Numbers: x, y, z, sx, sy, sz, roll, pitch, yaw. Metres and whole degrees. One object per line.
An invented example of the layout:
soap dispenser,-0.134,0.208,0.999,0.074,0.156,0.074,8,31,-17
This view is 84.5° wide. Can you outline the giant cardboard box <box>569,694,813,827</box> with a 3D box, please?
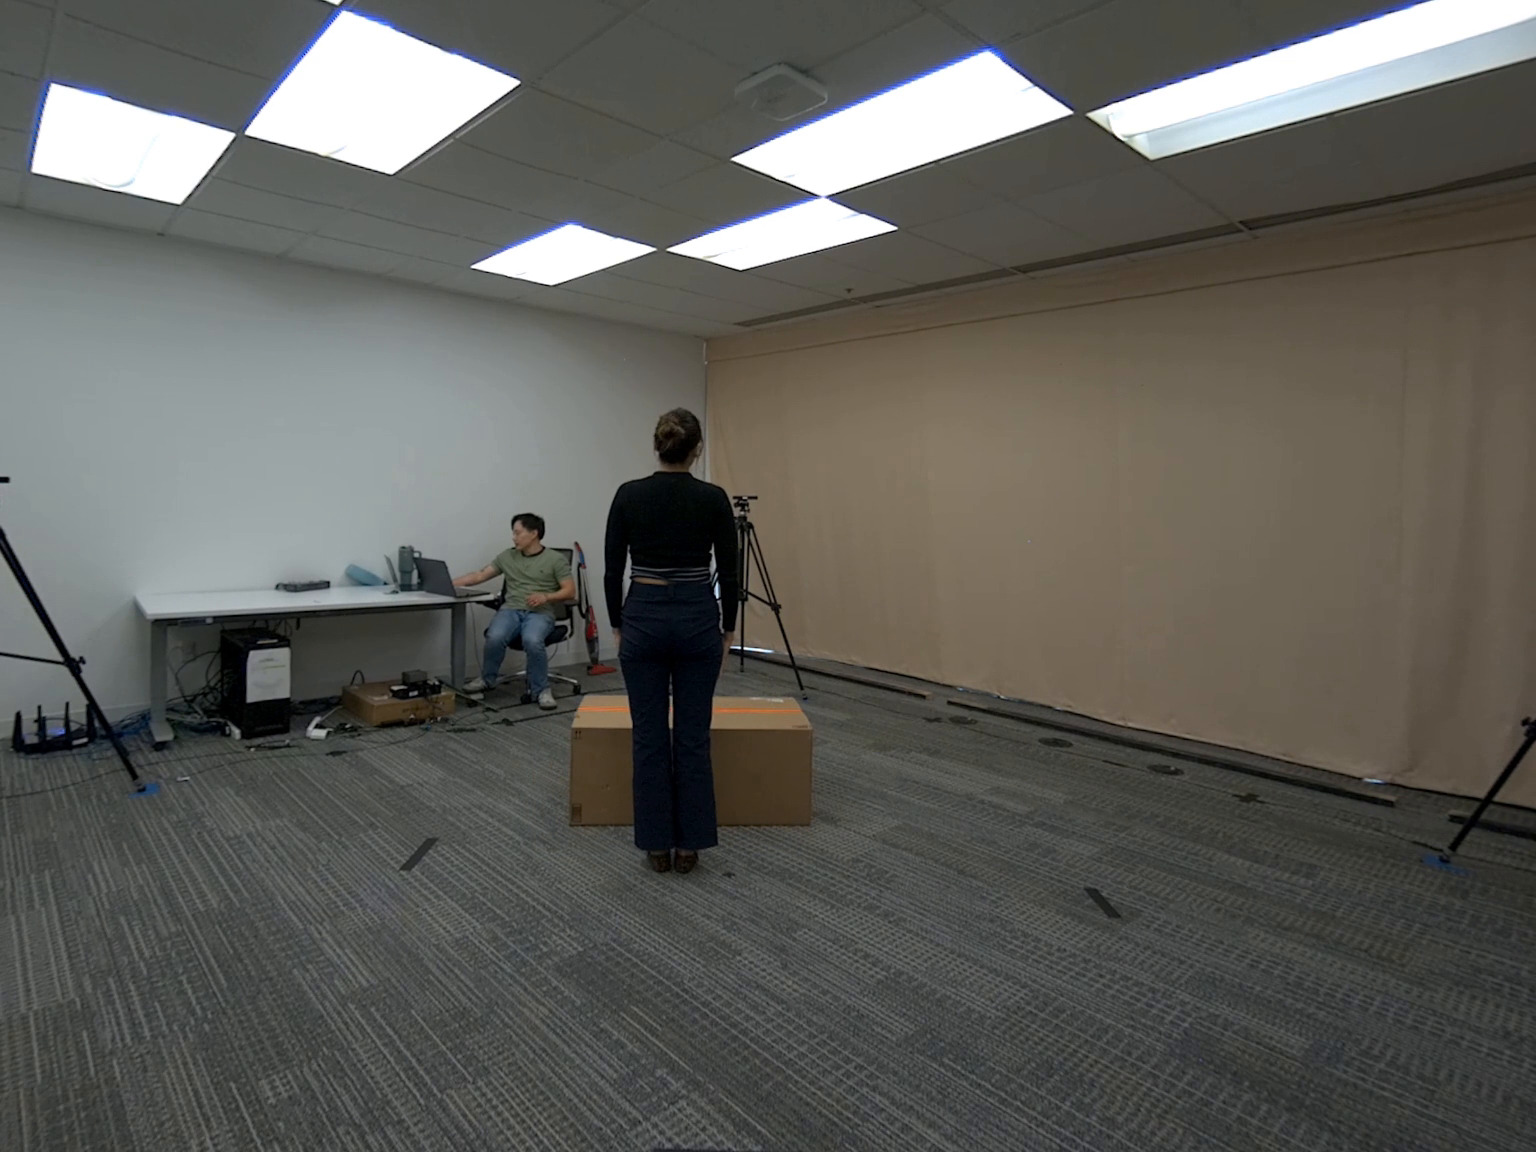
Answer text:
giant cardboard box,-0.362,0.814,3.830,1.022,0.425,0.581,1,5,-5
